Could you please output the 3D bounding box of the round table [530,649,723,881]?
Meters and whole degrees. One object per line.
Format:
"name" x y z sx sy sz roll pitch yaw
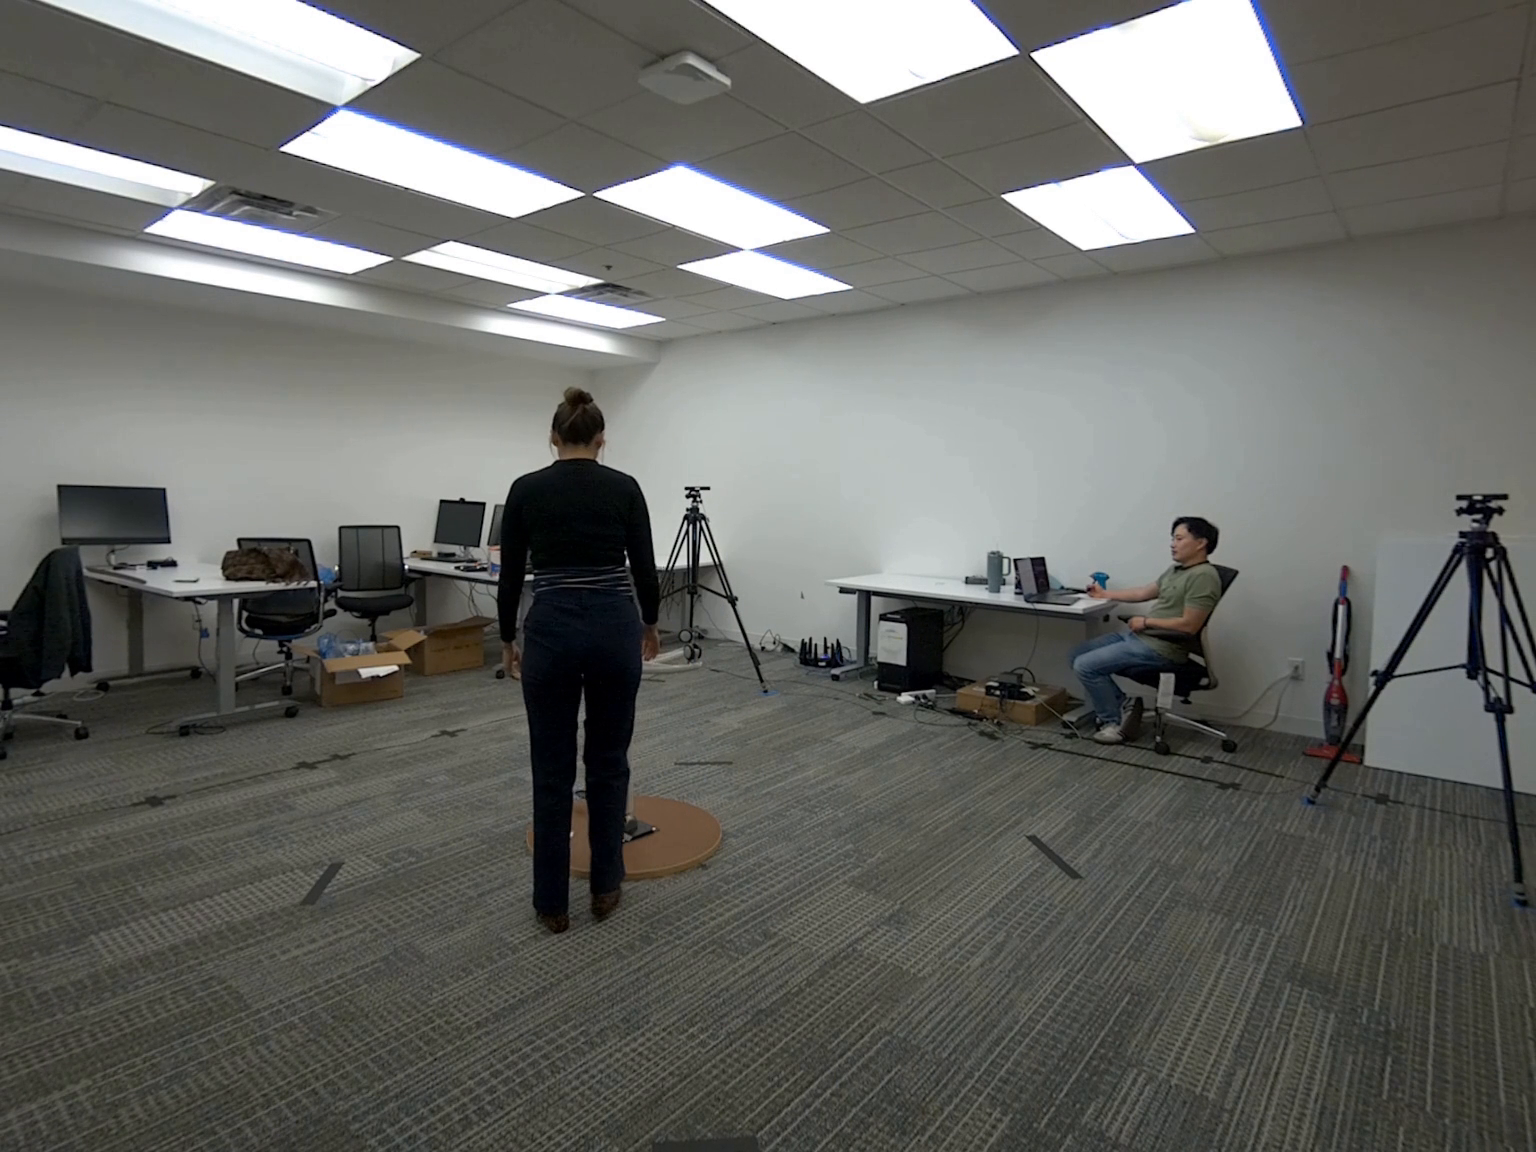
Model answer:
"round table" -0.567 0.643 3.366 0.763 0.792 0.767 0 4 -2
